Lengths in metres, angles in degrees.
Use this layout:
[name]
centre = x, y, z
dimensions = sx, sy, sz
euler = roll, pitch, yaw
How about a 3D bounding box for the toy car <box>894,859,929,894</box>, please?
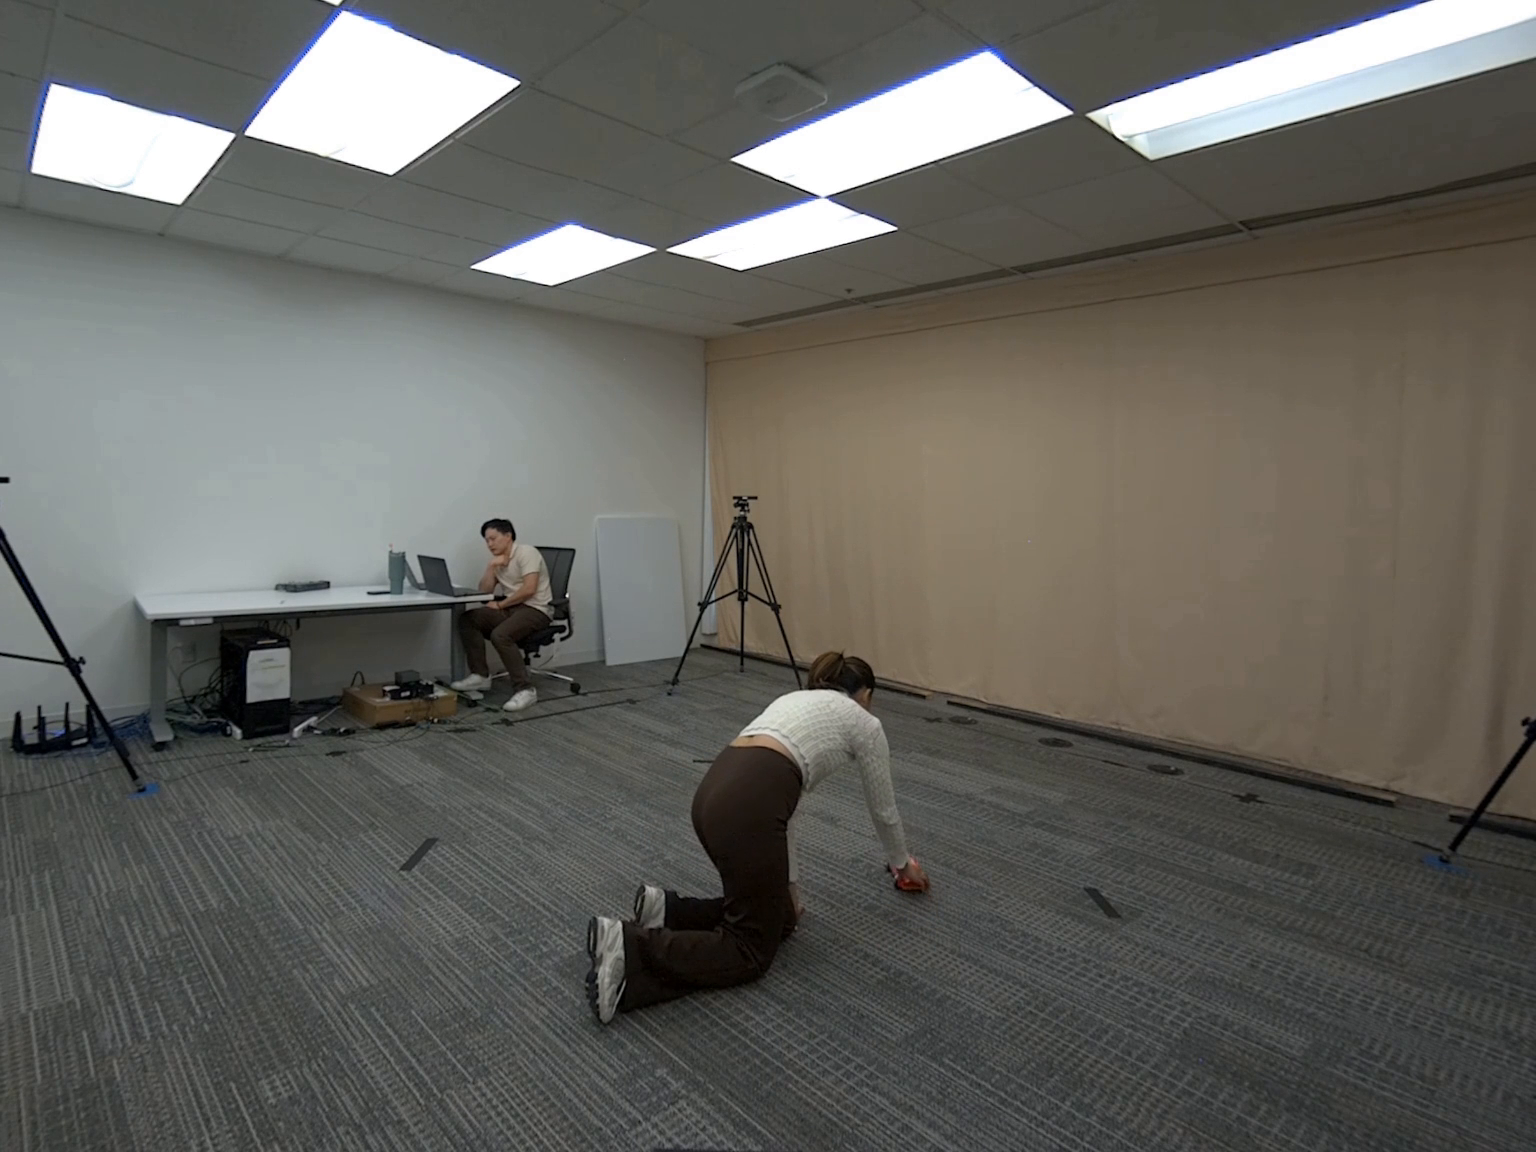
[toy car]
centre = 0.505, 1.093, 3.080
dimensions = 0.130, 0.083, 0.254
euler = 1, -6, -3
